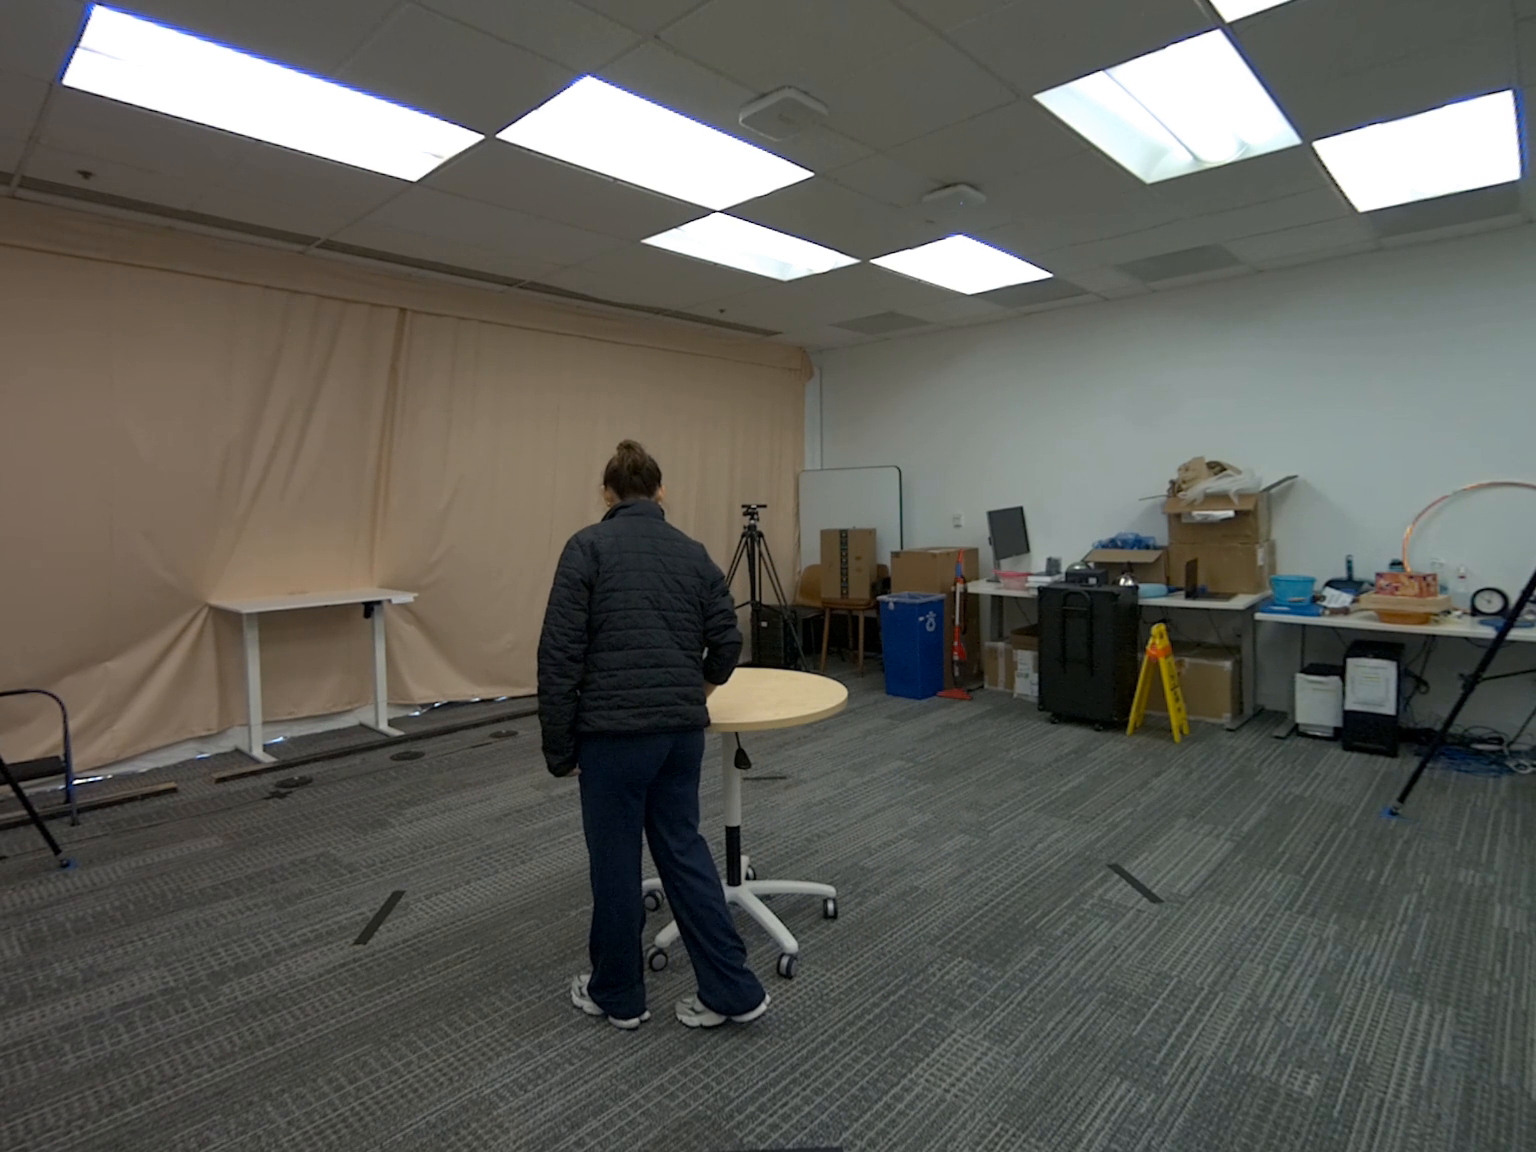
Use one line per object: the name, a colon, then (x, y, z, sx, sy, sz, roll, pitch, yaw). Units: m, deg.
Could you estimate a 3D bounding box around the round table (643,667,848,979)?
round table: (-0.111, 0.765, 2.786, 0.784, 0.785, 0.788, -2, 4, -2)
